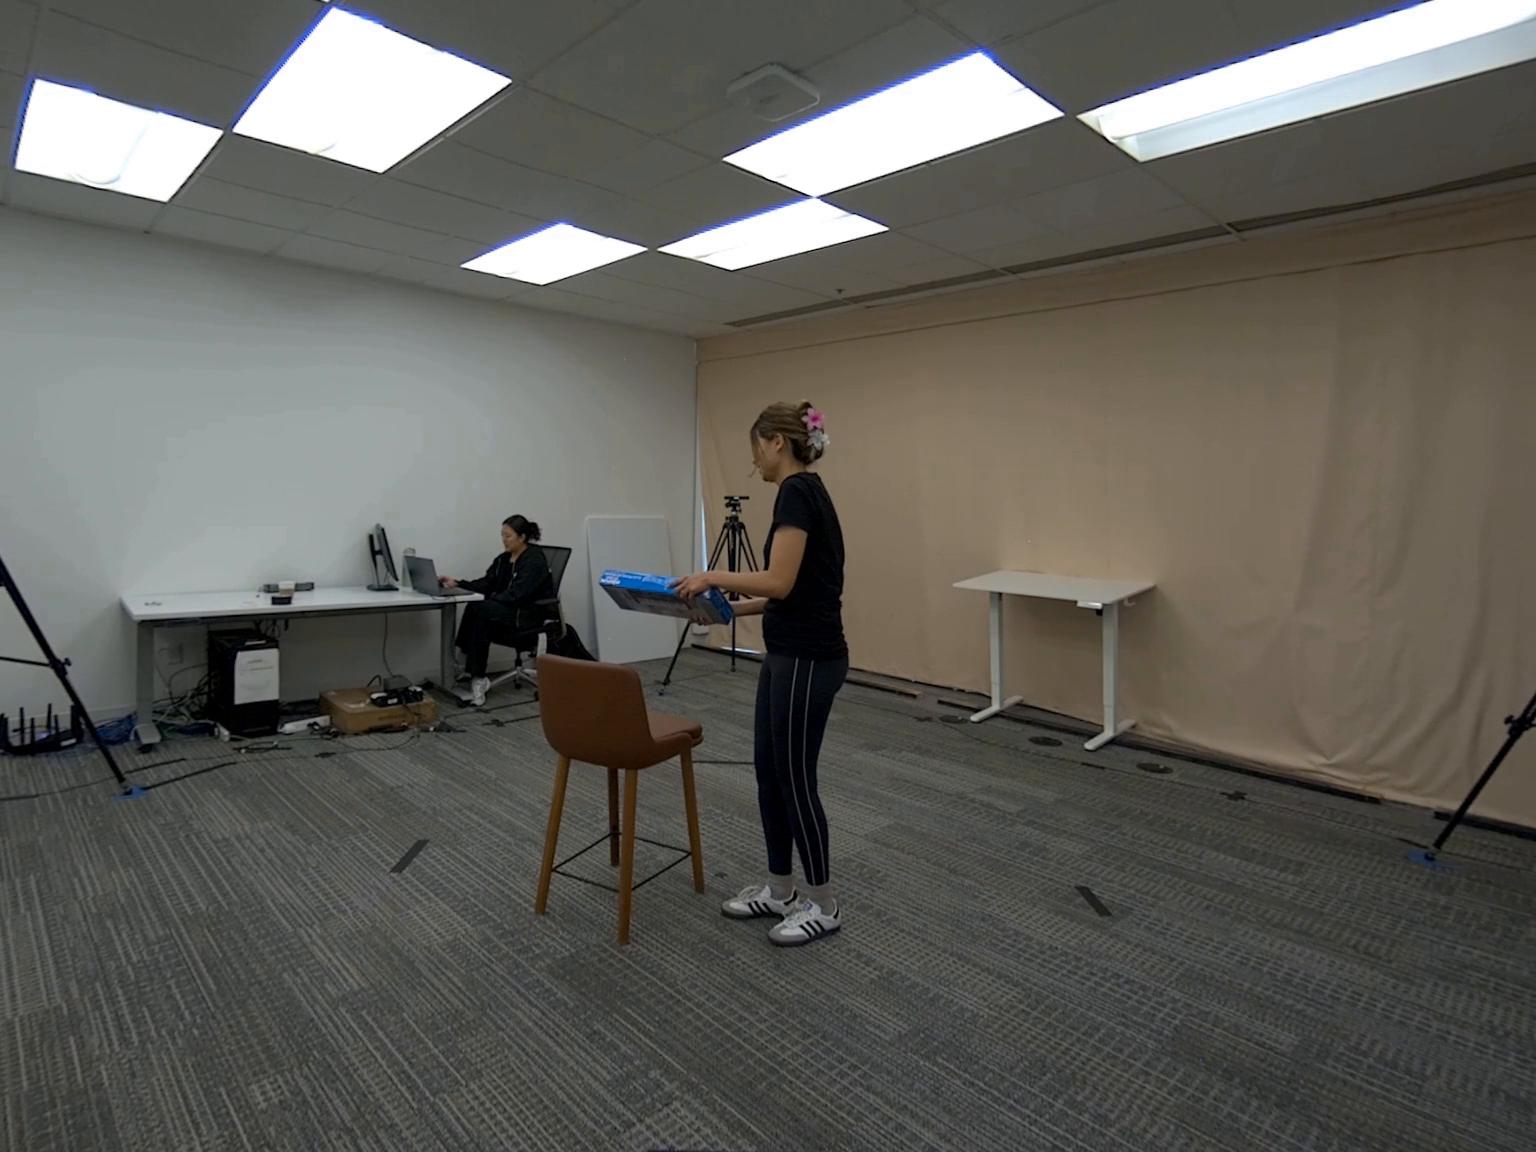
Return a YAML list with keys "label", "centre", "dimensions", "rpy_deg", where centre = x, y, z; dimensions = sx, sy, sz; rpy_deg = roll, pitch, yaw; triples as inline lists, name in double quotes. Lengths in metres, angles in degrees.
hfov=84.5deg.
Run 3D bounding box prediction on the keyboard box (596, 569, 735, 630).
- label: "keyboard box"
  centre: [-0.344, 0.074, 2.815]
  dimensions: [0.446, 0.059, 0.170]
  rpy_deg: [7, -31, 28]
